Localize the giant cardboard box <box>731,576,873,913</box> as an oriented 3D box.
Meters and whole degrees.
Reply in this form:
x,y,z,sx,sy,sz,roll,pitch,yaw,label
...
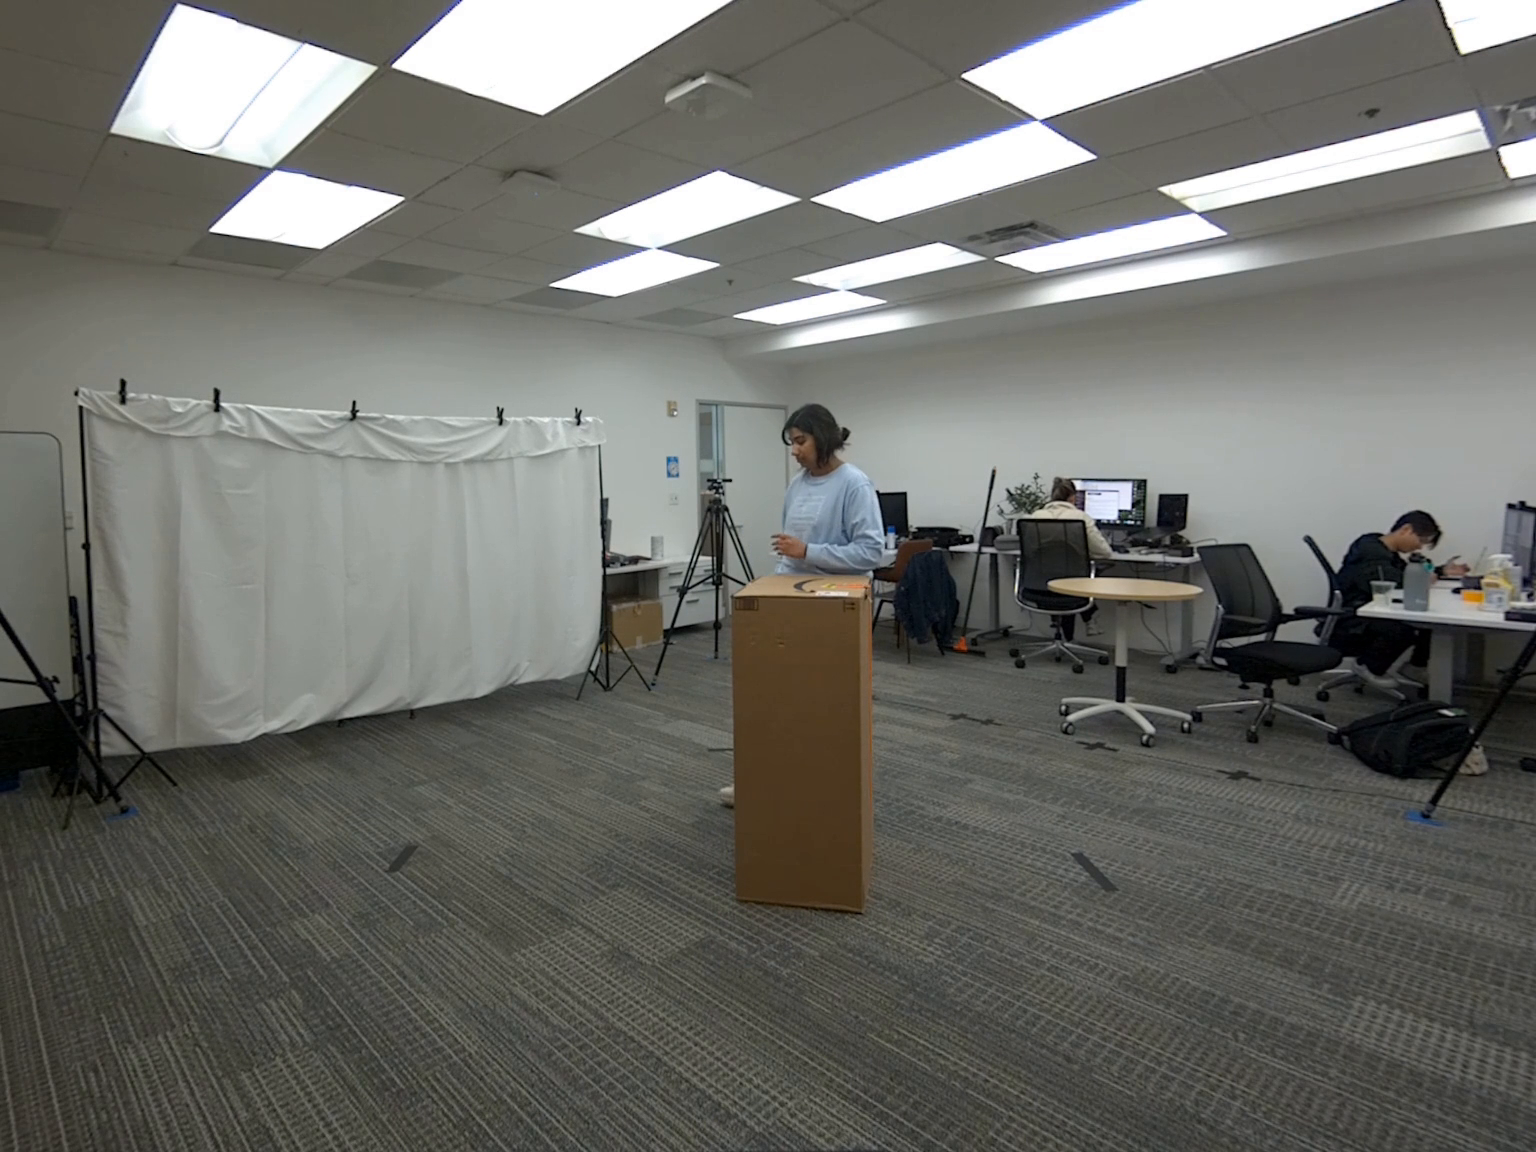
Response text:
x,y,z,sx,sy,sz,roll,pitch,yaw,label
0.141,0.544,3.026,0.431,1.023,0.573,0,4,11,giant cardboard box
